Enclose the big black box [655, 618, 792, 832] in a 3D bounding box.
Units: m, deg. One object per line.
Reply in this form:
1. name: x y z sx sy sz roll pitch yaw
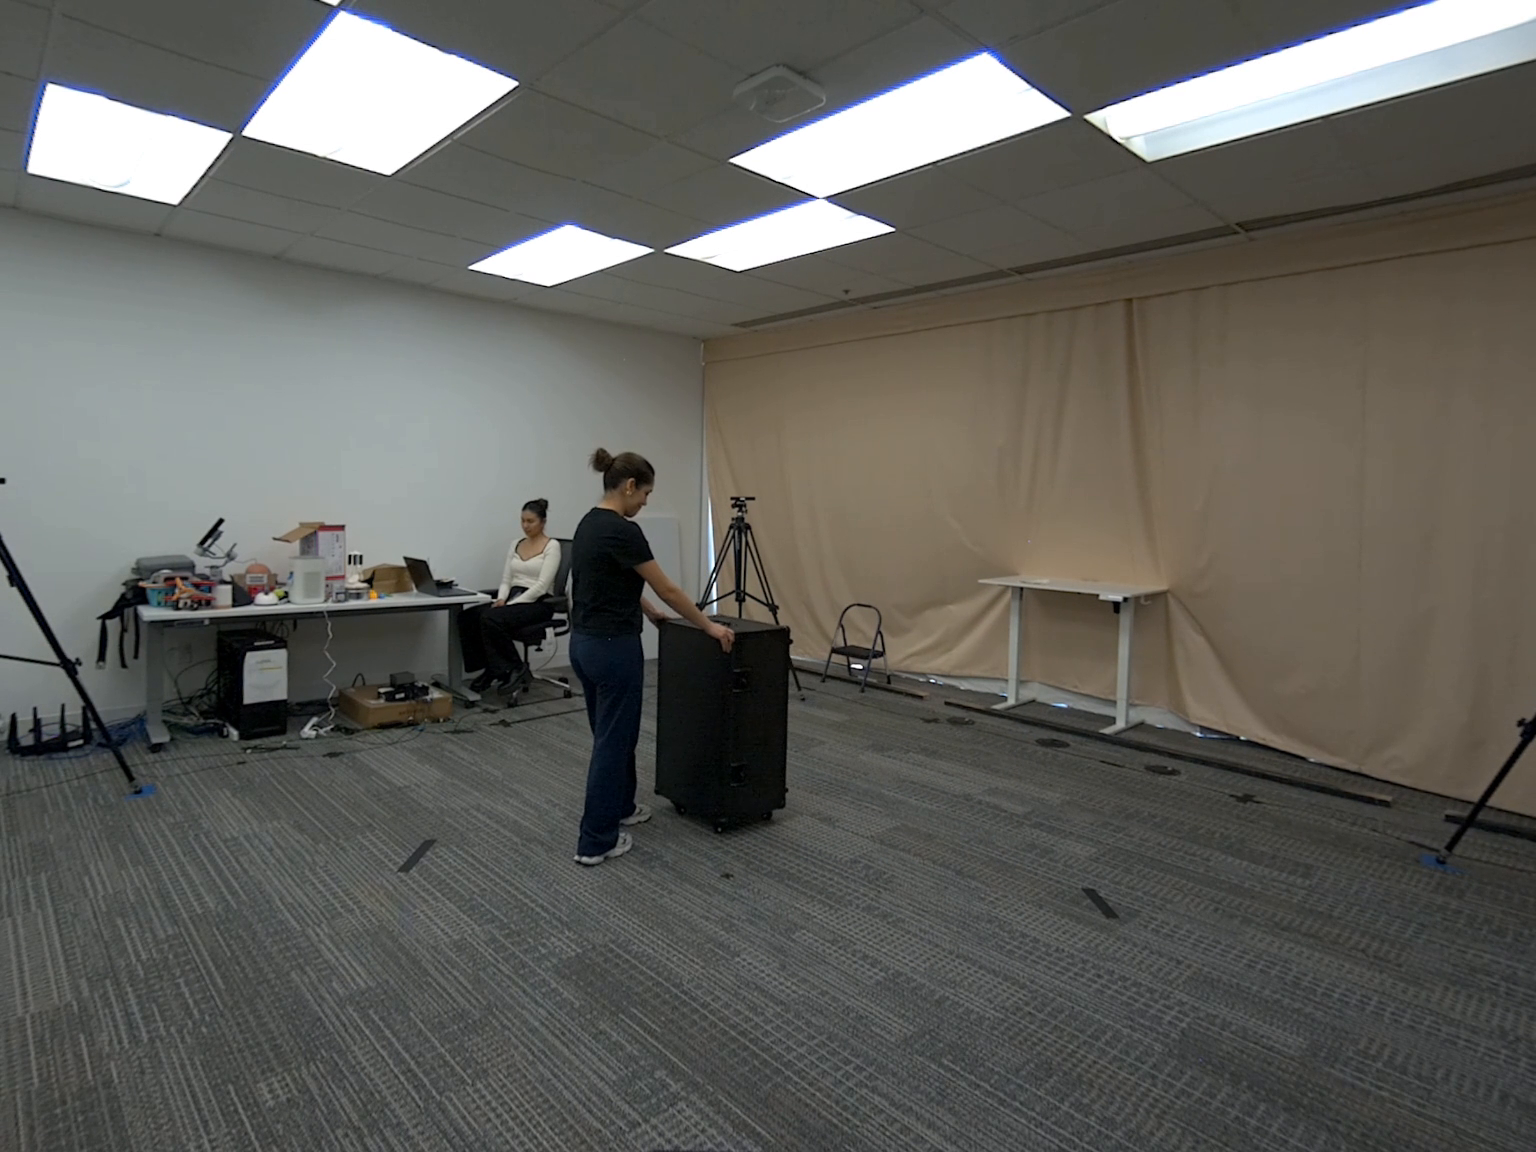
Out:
1. big black box: -0.210 0.629 3.671 0.387 0.860 0.534 0 4 -41
